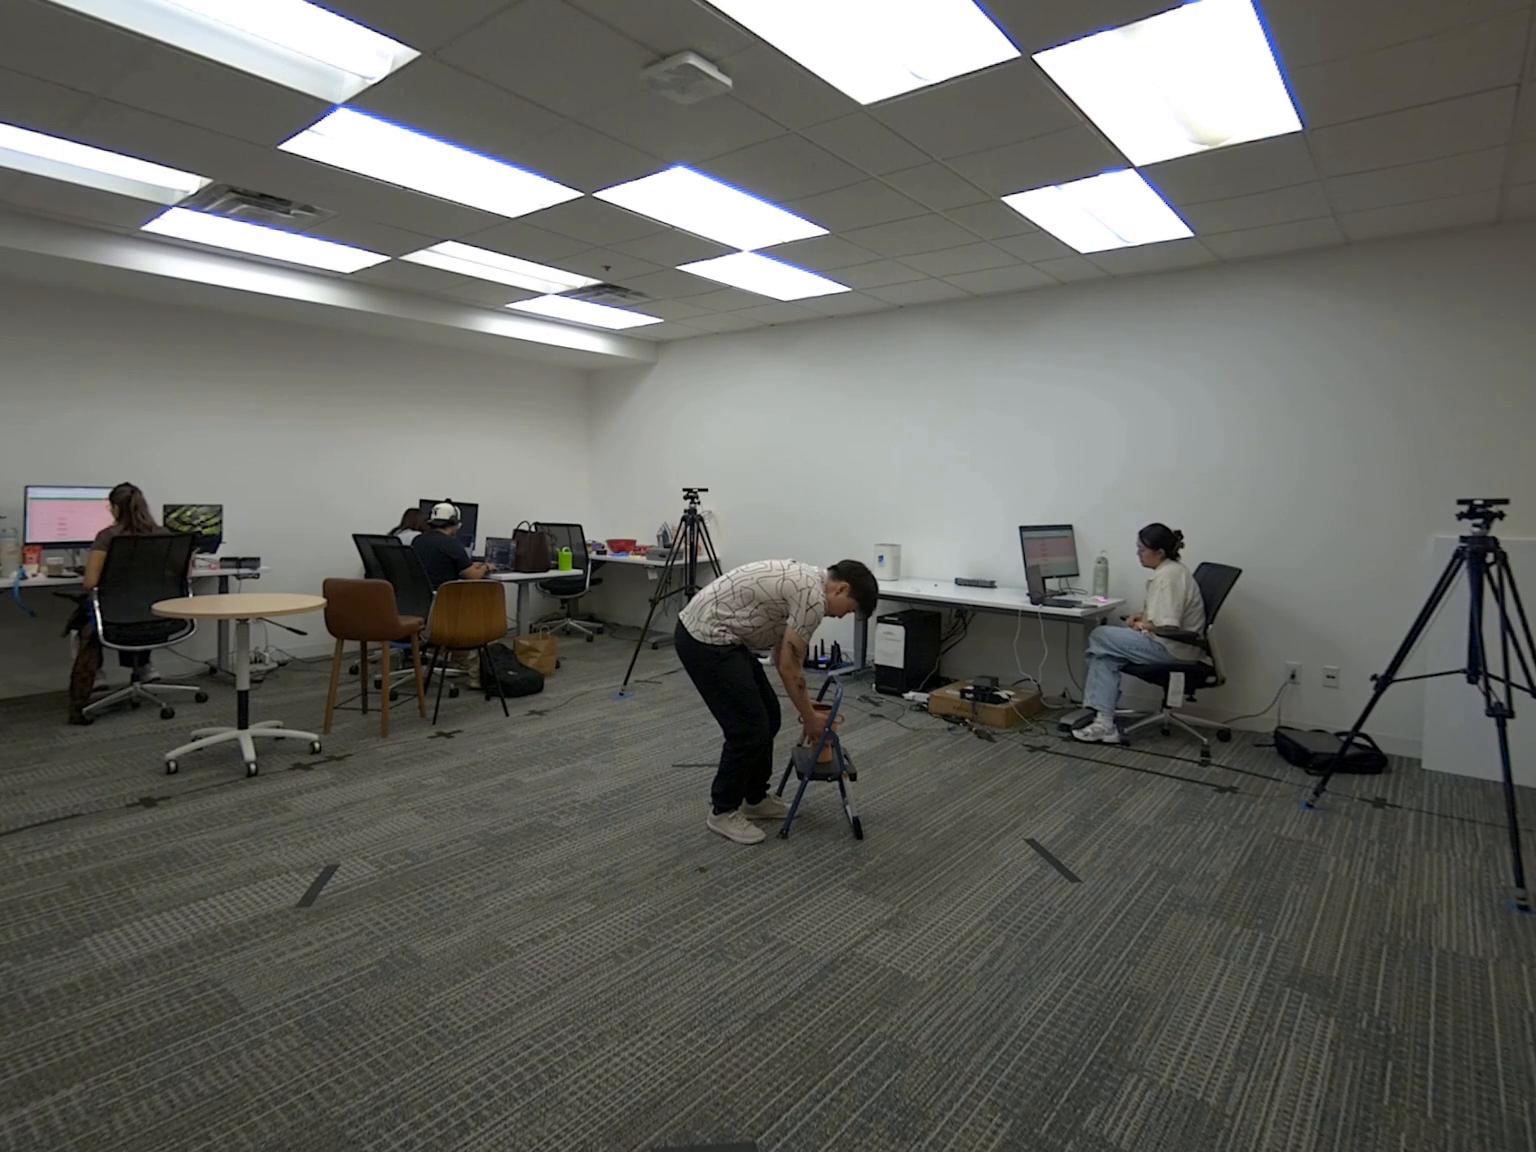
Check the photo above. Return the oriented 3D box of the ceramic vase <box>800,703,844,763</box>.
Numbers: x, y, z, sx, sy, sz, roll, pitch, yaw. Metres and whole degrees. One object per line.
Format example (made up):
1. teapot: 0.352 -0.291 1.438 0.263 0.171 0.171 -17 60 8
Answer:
1. ceramic vase: 0.203 0.653 3.574 0.164 0.219 0.131 8 4 30
